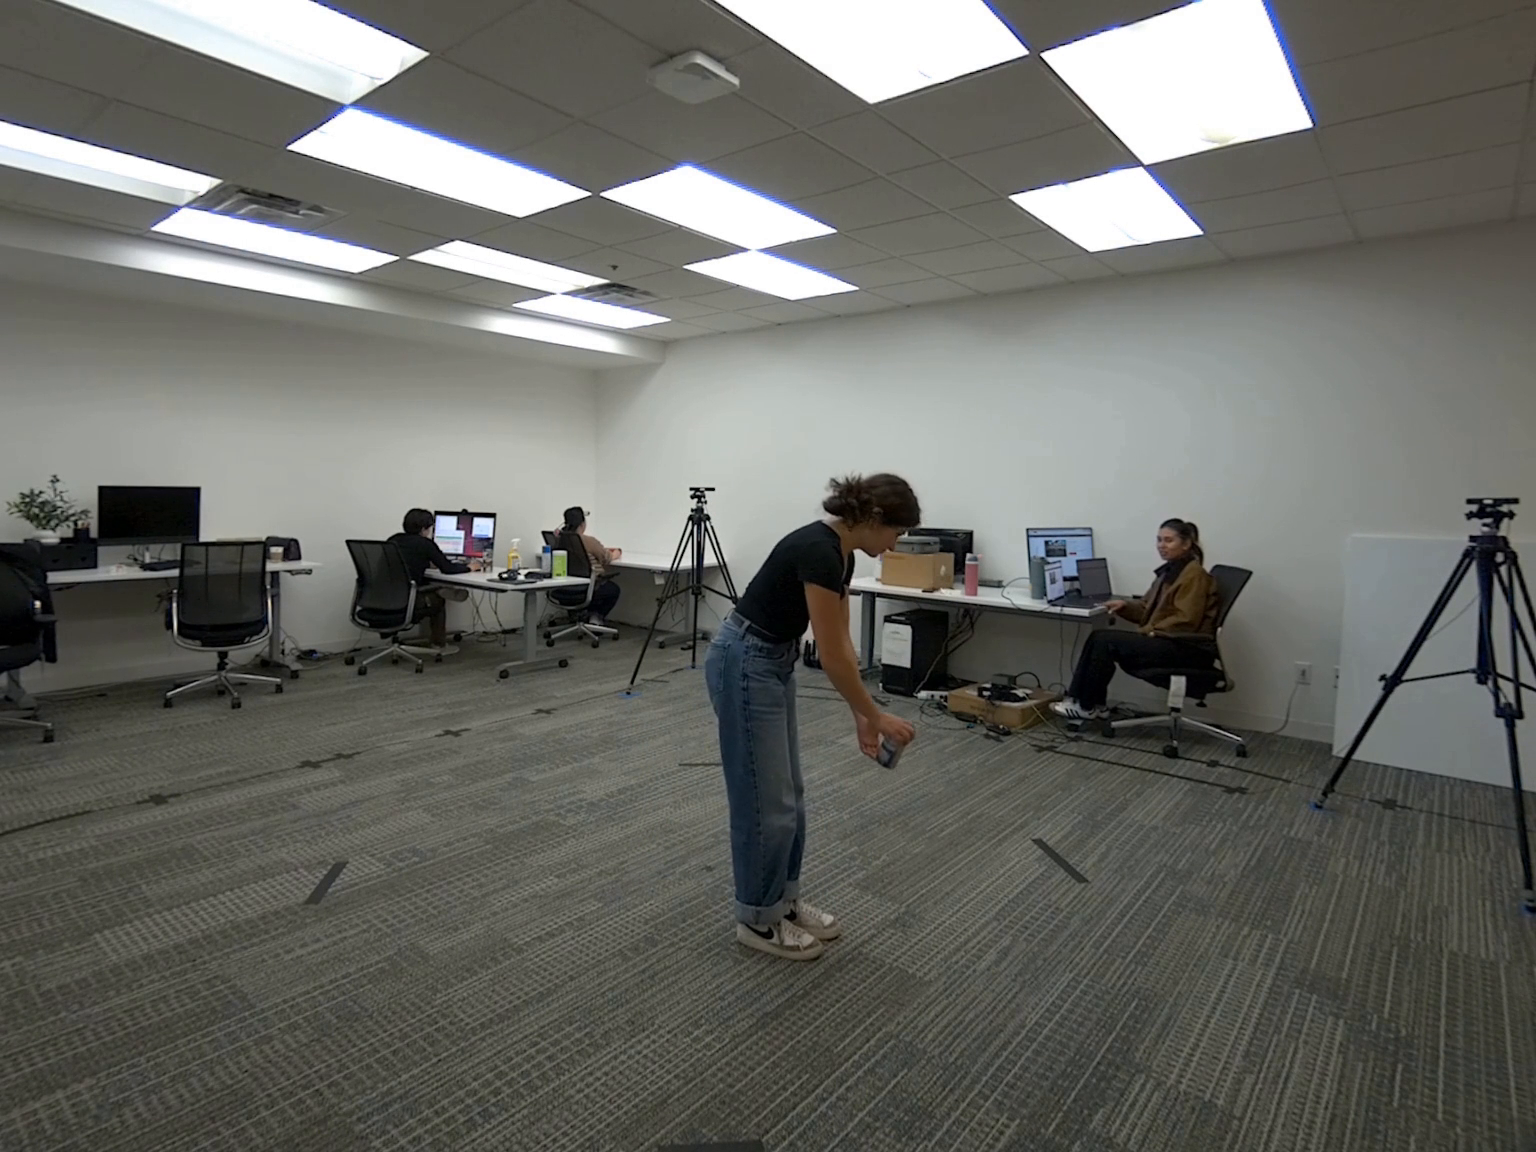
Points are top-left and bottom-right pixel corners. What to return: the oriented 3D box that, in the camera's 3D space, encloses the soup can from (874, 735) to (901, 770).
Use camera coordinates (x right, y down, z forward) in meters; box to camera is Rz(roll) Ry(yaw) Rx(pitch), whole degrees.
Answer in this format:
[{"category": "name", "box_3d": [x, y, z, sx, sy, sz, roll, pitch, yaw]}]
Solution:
[{"category": "soup can", "box_3d": [0.355, 0.531, 2.527, 0.067, 0.120, 0.068, 9, 17, -5]}]
